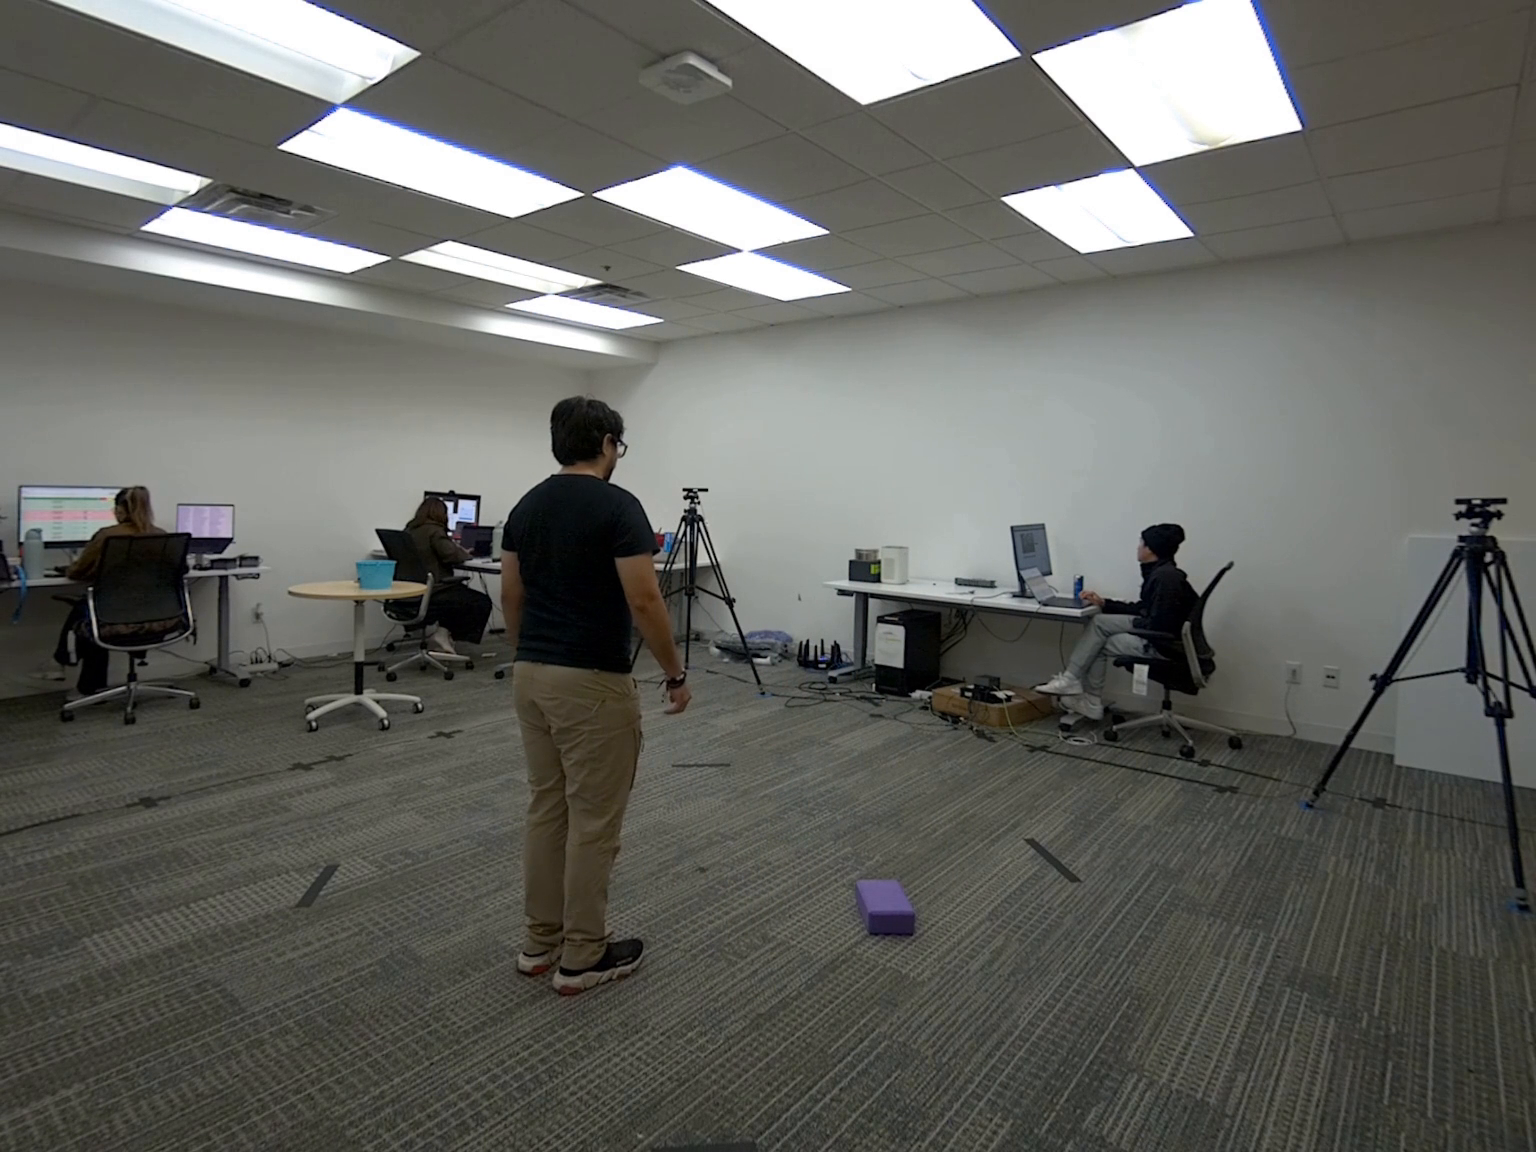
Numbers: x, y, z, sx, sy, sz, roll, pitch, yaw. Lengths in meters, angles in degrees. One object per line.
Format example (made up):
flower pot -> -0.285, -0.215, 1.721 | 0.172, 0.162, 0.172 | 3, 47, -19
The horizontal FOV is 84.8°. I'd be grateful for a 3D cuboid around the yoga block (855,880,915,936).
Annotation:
yoga block -> 0.374, 1.074, 2.787 | 0.148, 0.076, 0.231 | -2, 6, -4
